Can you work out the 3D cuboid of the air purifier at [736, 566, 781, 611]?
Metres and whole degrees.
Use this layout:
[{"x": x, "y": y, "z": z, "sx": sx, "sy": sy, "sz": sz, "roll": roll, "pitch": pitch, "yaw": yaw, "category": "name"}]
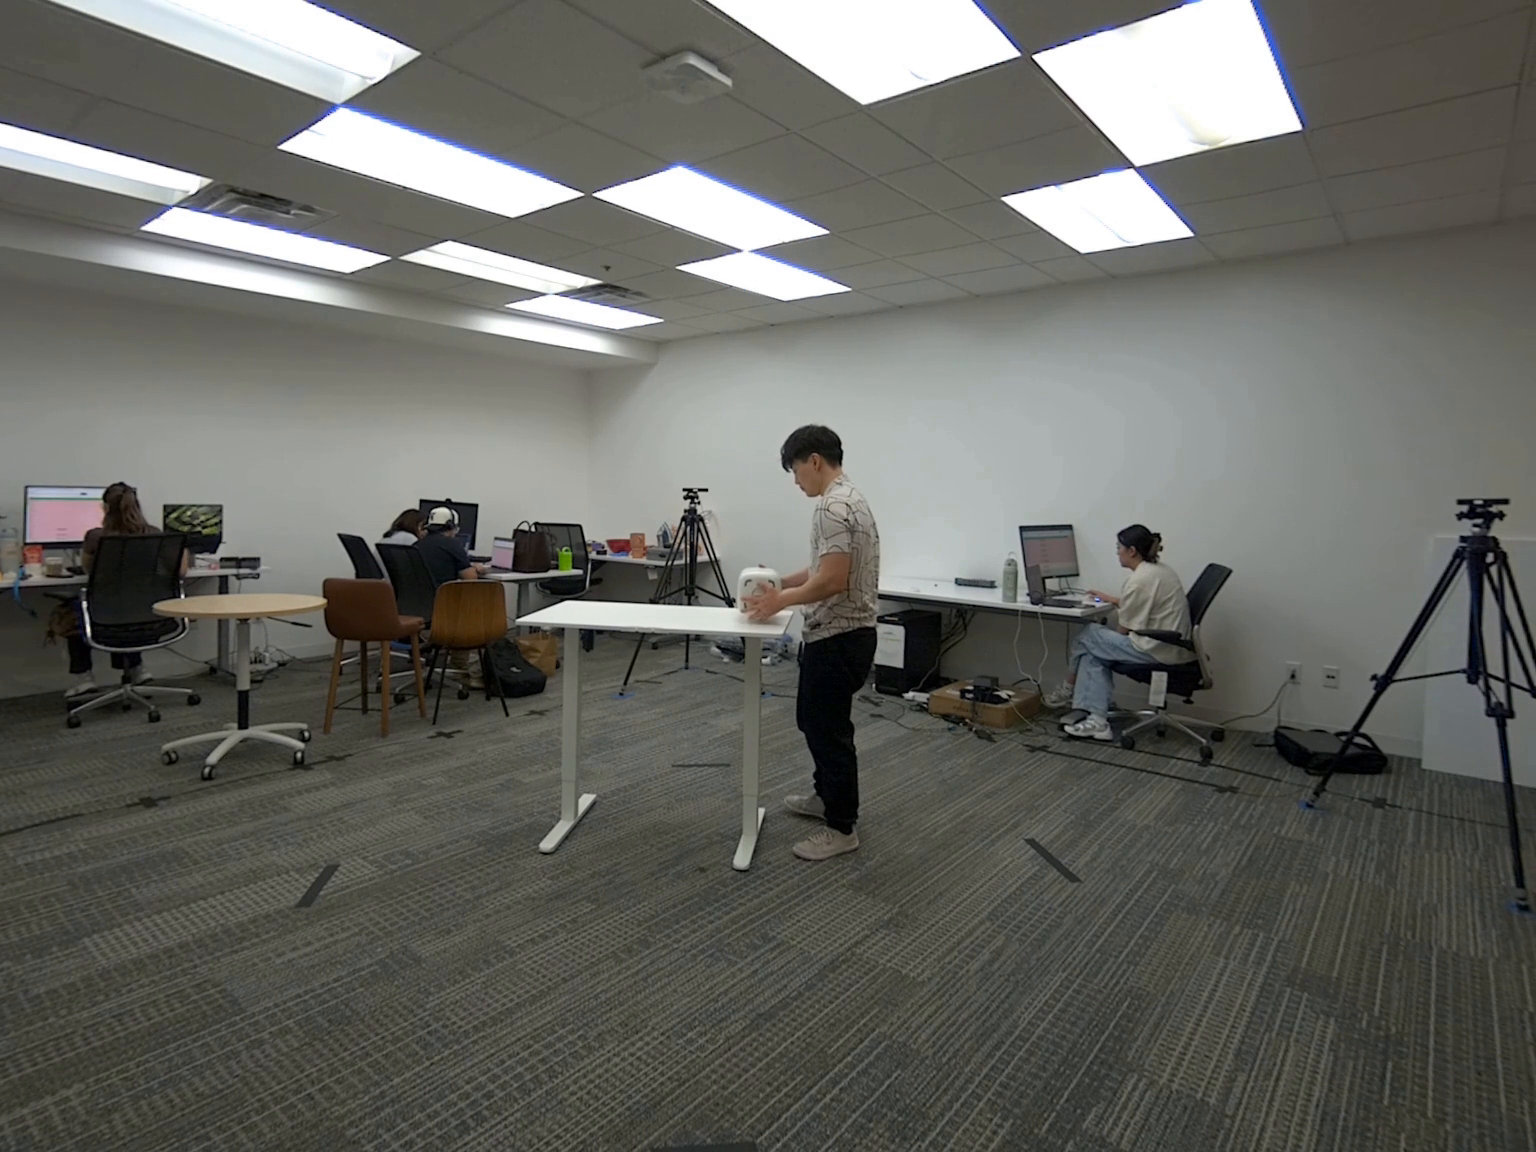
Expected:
[{"x": -0.045, "y": 0.056, "z": 3.363, "sx": 0.172, "sy": 0.170, "sz": 0.266, "roll": 2, "pitch": 4, "yaw": 0, "category": "air purifier"}]
